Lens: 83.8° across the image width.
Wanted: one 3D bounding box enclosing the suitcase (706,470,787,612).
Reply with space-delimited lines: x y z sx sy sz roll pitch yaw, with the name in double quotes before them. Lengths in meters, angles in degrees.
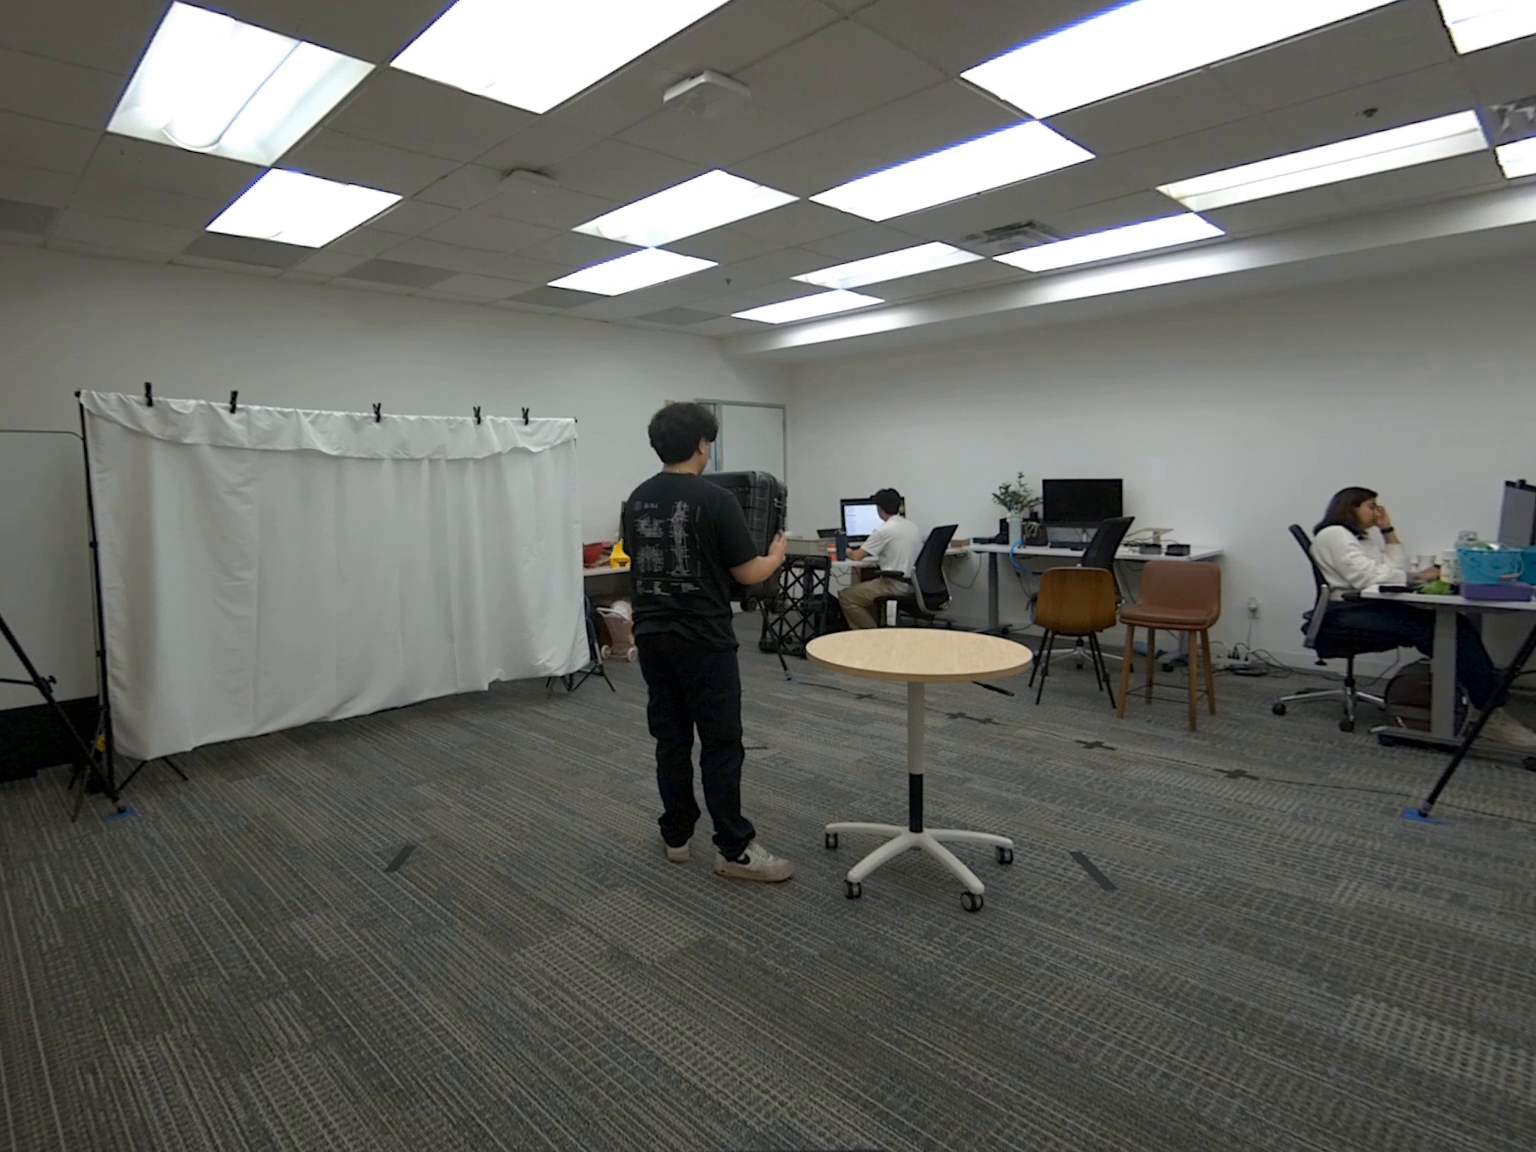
"suitcase" -0.128 -0.138 3.367 0.386 0.552 0.240 -1 -7 38
